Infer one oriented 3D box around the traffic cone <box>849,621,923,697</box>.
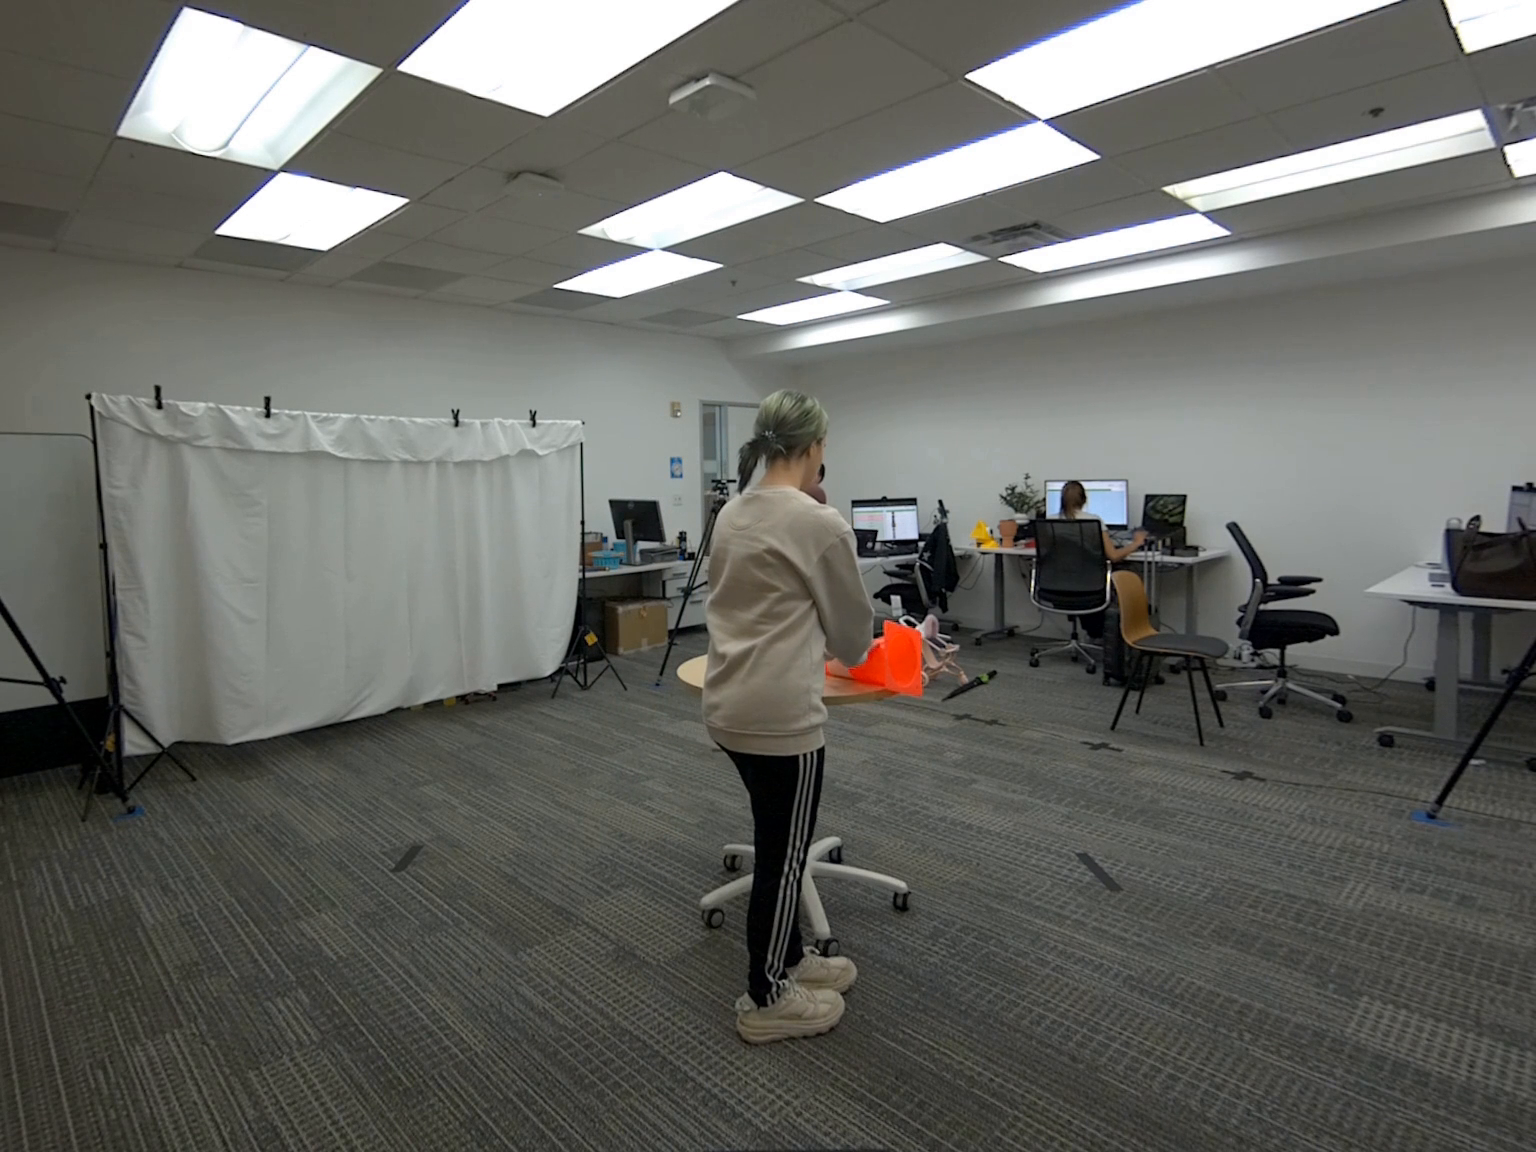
[{"bbox_3d":[0.267,0.266,2.613,0.393,0.207,0.196,-9,-19,41],"label":"traffic cone"}]
